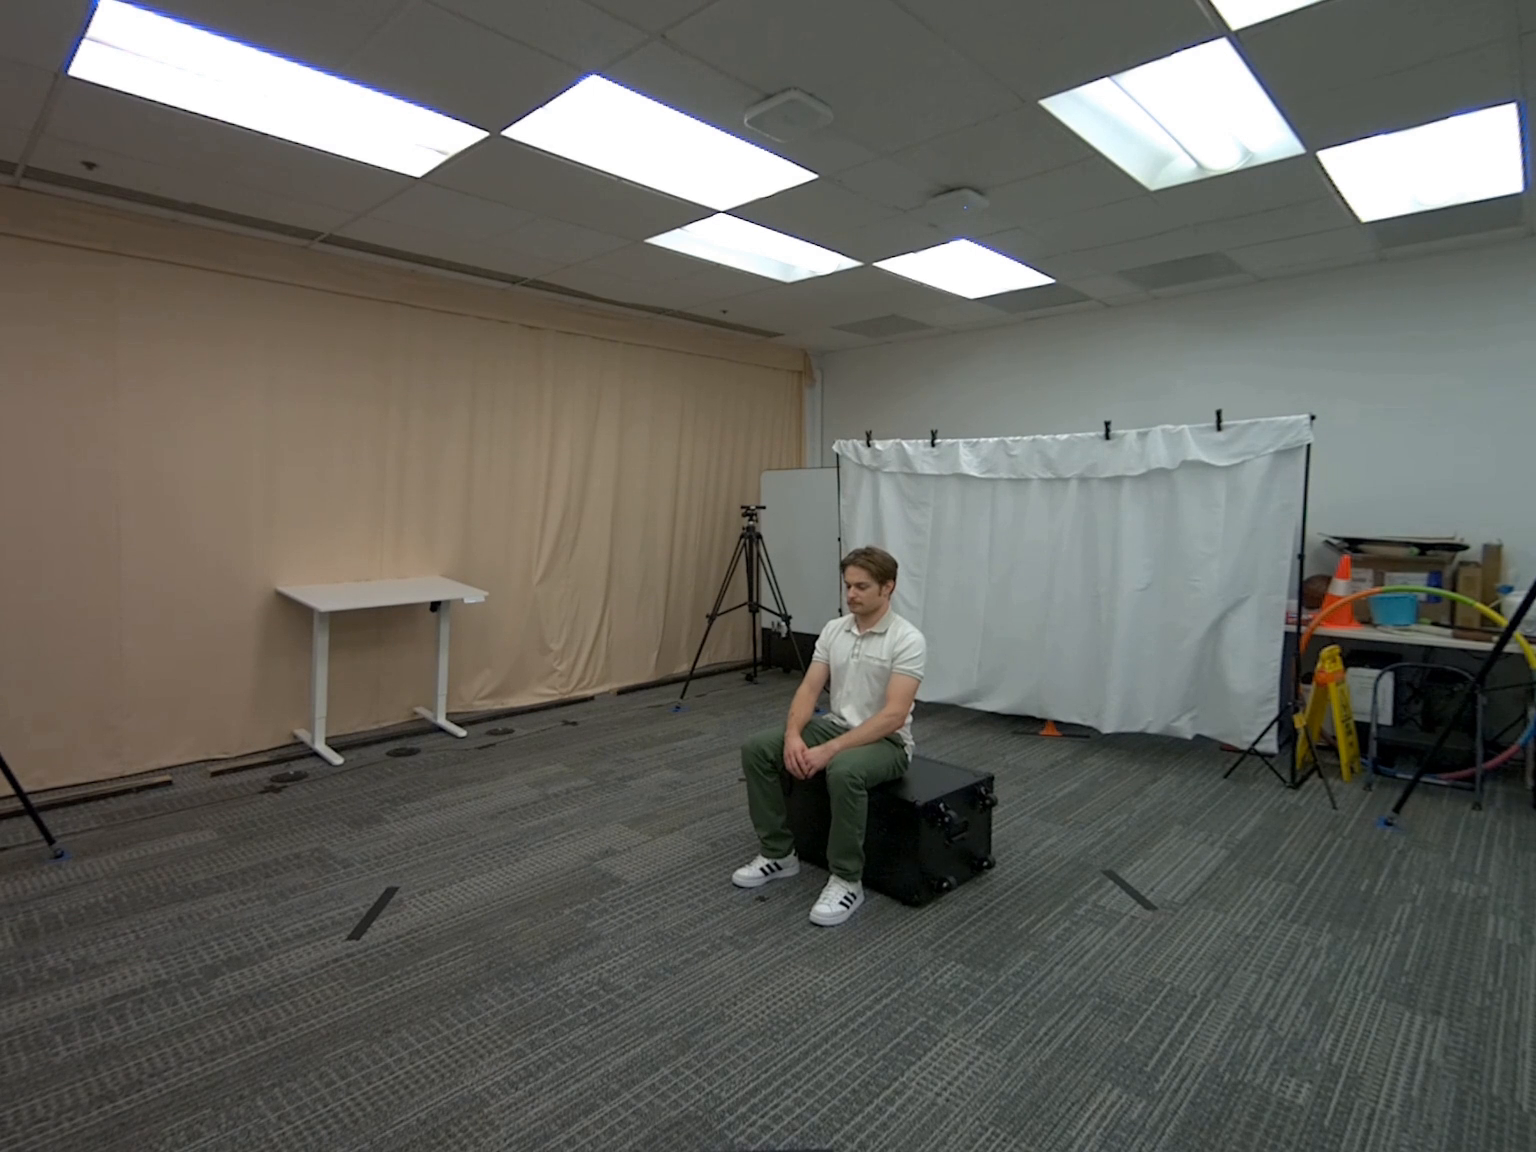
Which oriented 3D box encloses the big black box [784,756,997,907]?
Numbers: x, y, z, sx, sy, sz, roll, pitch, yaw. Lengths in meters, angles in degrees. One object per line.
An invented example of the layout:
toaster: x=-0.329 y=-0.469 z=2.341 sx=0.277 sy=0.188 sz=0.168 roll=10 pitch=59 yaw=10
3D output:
big black box: x=0.432 y=0.924 z=3.291 sx=0.507 sy=0.384 sz=0.897 roll=-3 pitch=5 yaw=-44
